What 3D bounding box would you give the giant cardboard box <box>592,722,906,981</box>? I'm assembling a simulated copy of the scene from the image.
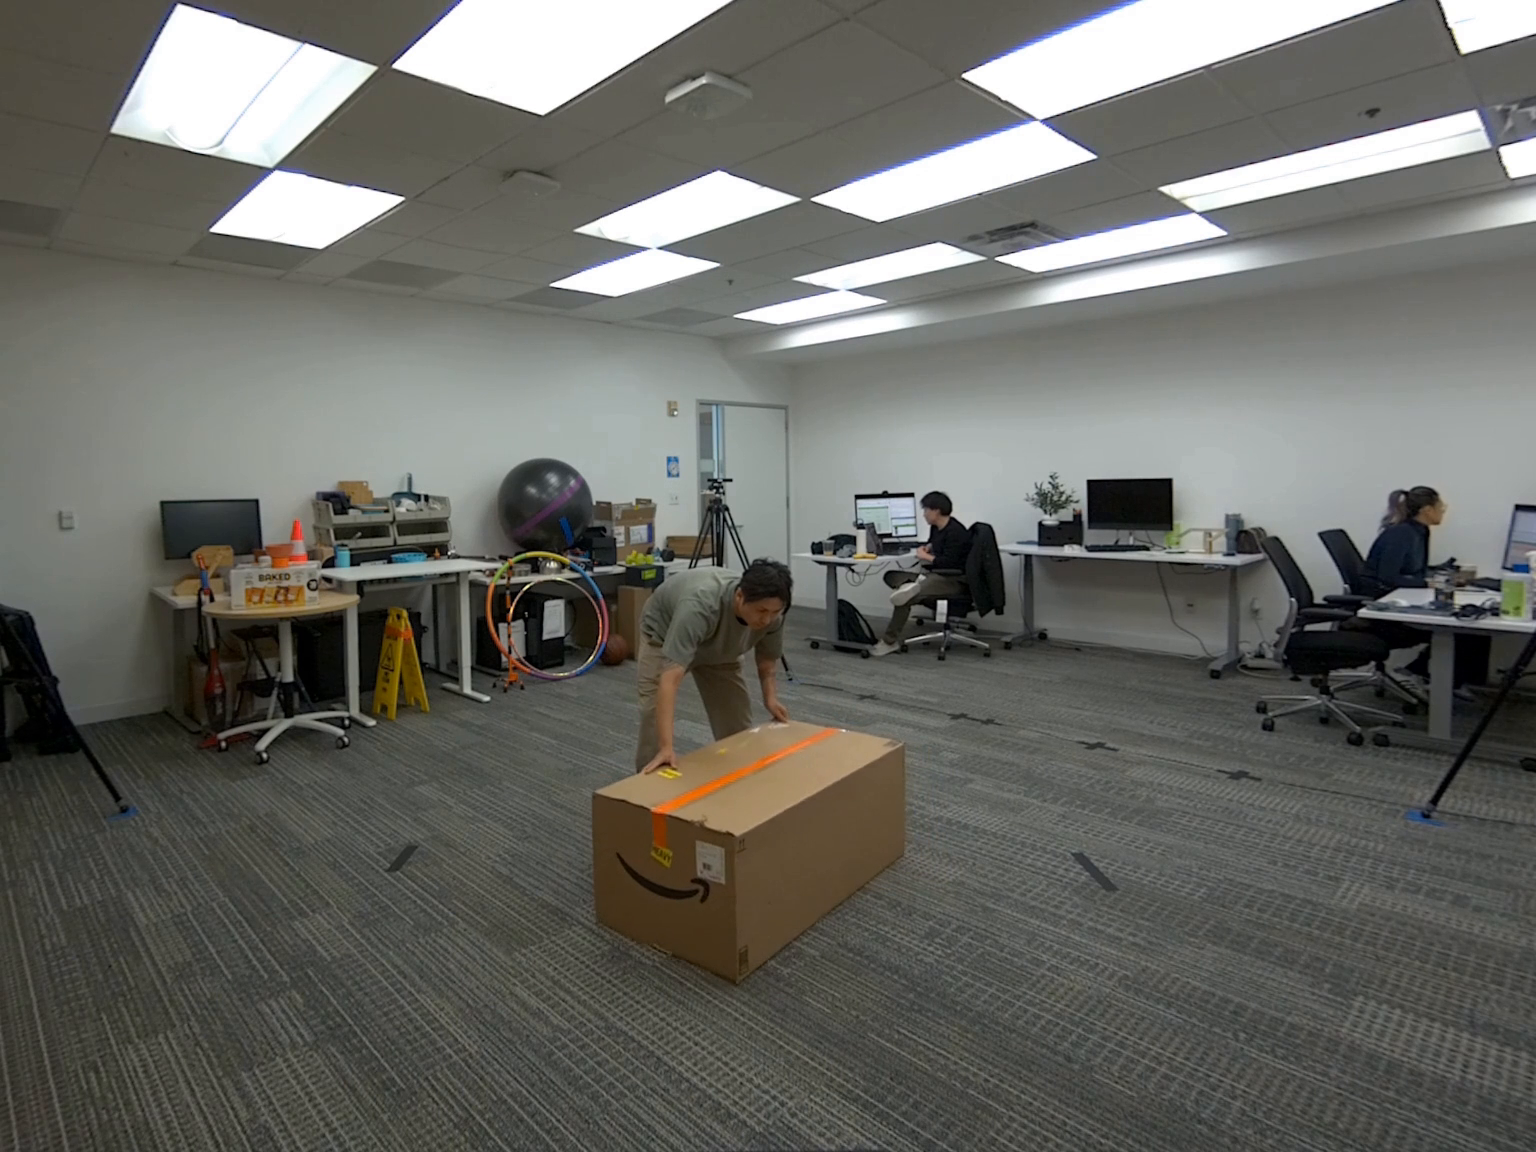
[{"bbox_3d":[-0.027,0.851,2.916,0.595,0.424,1.000,4,8,36],"label":"giant cardboard box"}]
